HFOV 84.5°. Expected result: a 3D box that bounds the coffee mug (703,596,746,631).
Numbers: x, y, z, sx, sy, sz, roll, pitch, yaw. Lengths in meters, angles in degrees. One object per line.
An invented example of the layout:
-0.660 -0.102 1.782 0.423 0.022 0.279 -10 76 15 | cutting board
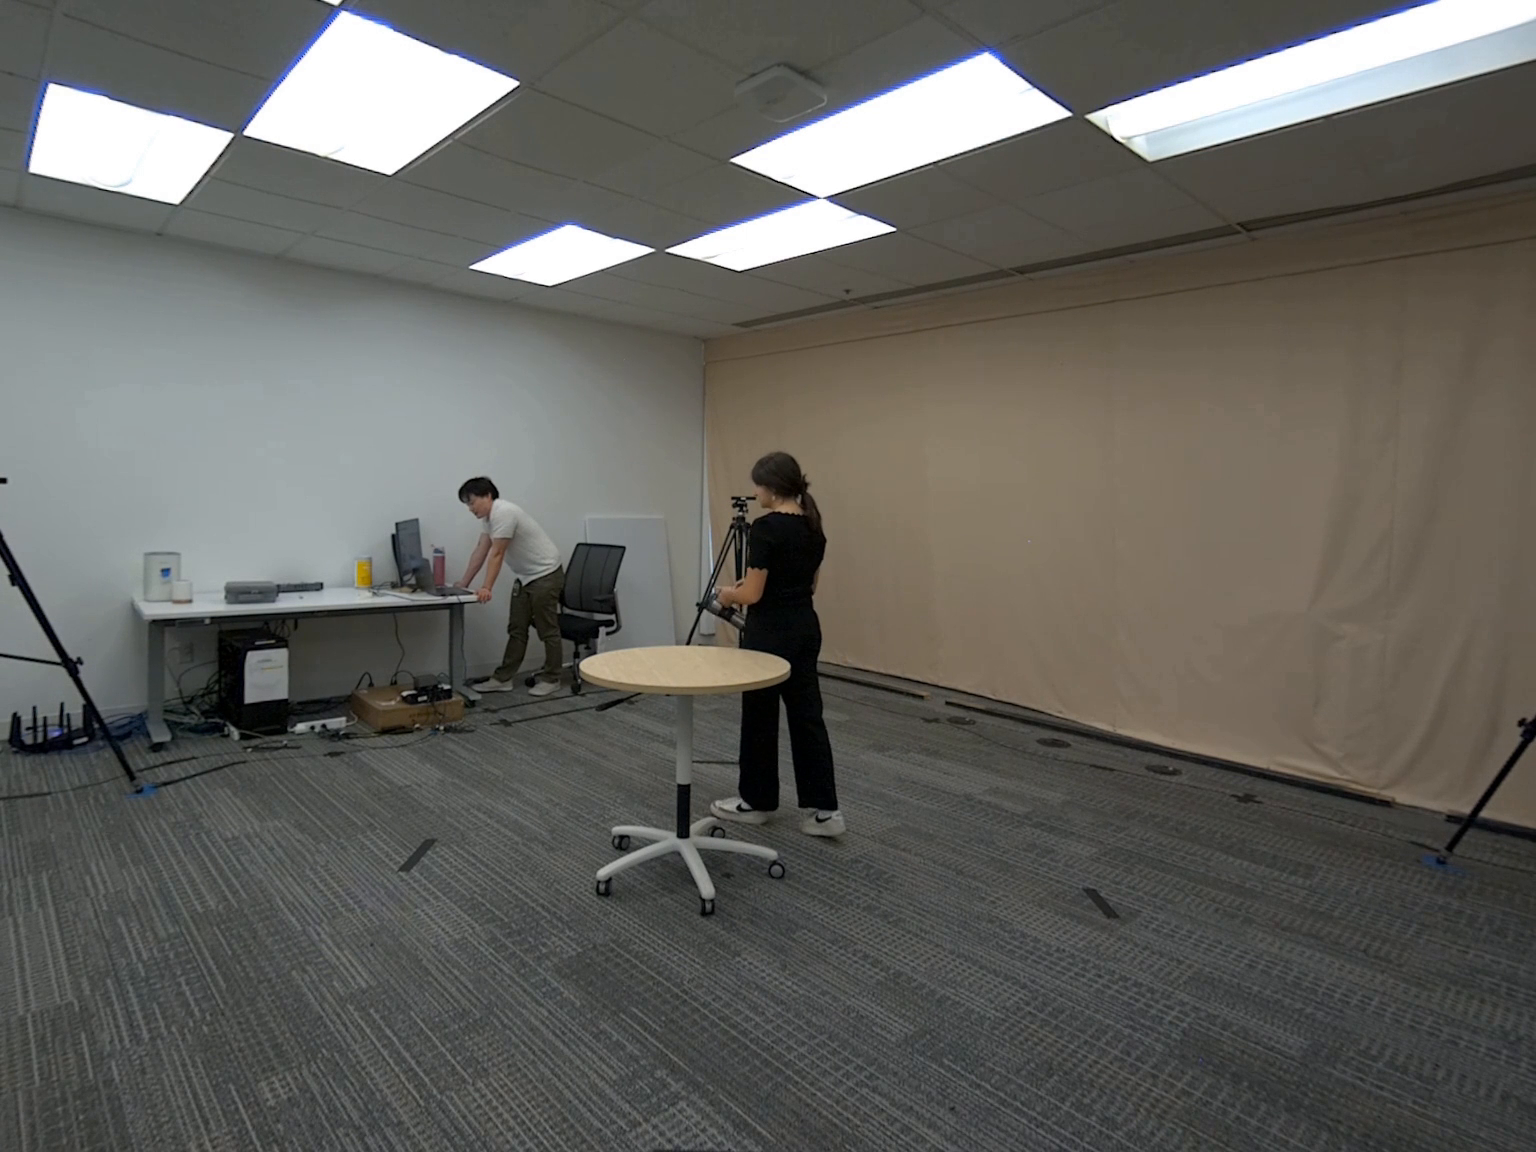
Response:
-0.163 0.171 3.745 0.206 0.120 0.088 32 47 16 | coffee mug
